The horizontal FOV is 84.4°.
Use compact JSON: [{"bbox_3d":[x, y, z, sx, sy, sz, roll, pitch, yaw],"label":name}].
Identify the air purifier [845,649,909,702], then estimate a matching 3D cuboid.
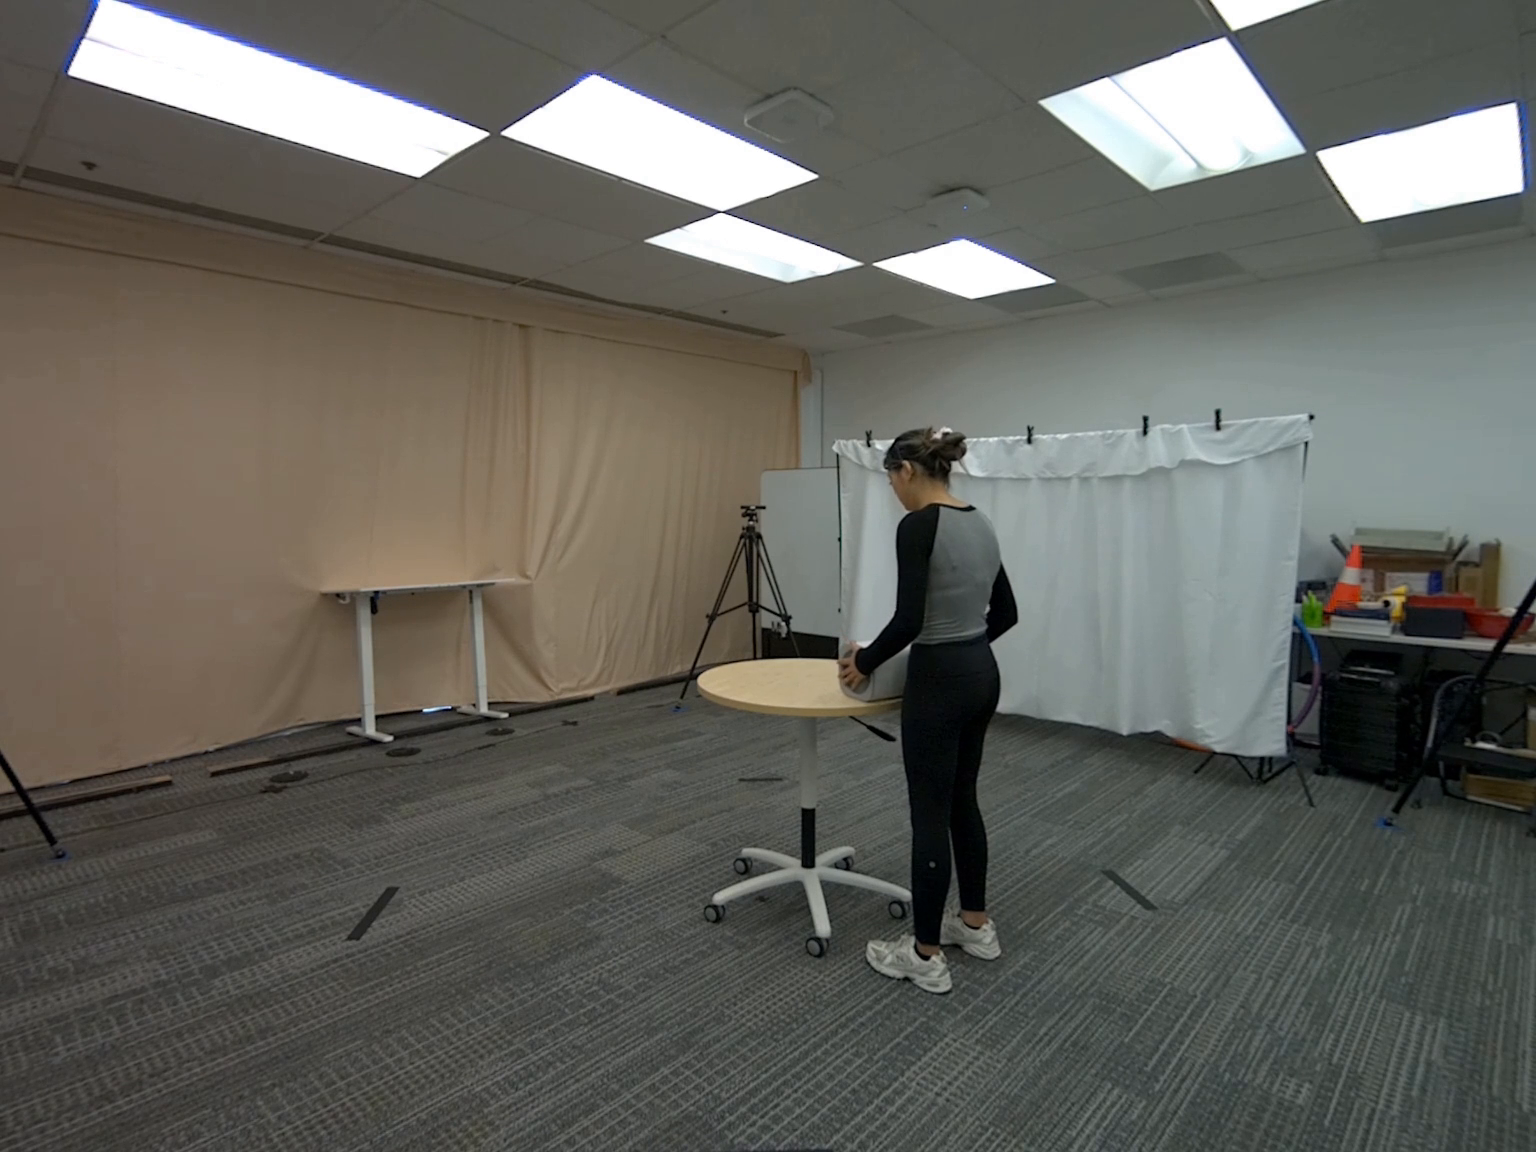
[{"bbox_3d":[0.386,0.291,2.678,0.258,0.171,0.176,-3,6,-29],"label":"air purifier"}]
